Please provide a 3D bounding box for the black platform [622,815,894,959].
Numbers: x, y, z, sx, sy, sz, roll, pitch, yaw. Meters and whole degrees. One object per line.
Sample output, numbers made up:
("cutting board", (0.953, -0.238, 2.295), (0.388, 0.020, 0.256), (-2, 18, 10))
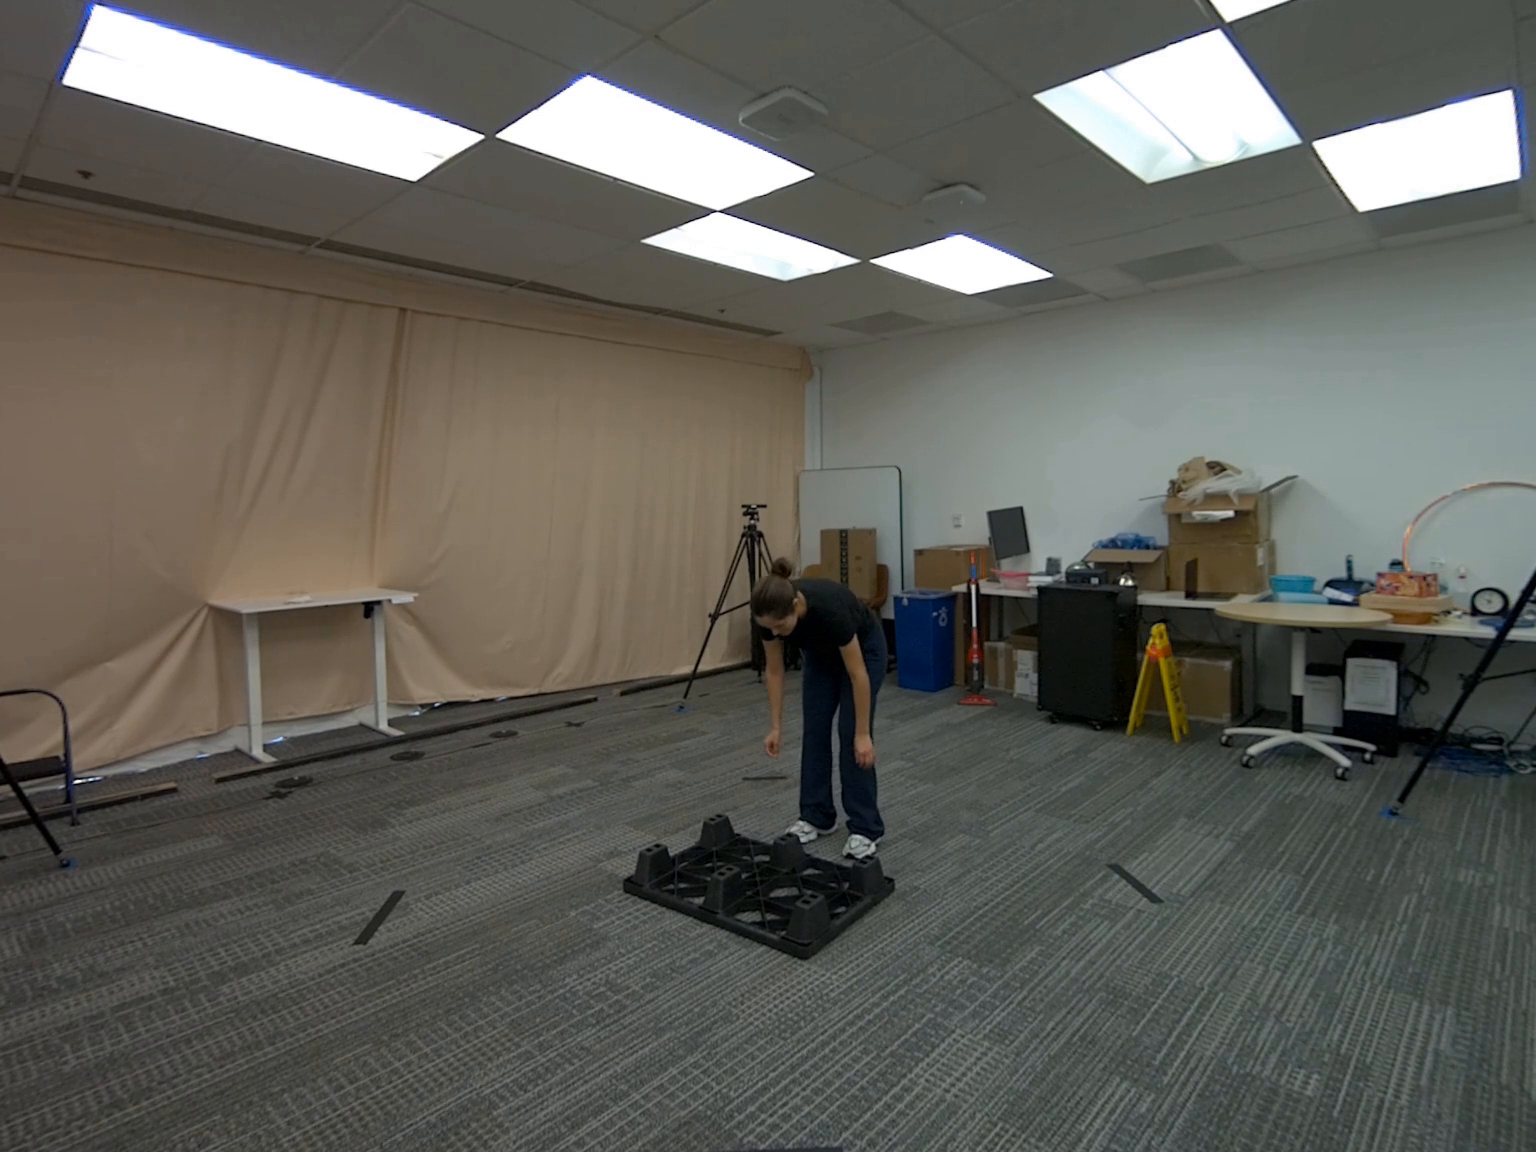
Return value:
("black platform", (-0.018, 1.069, 3.037), (0.831, 0.143, 0.588), (3, 7, 37))
